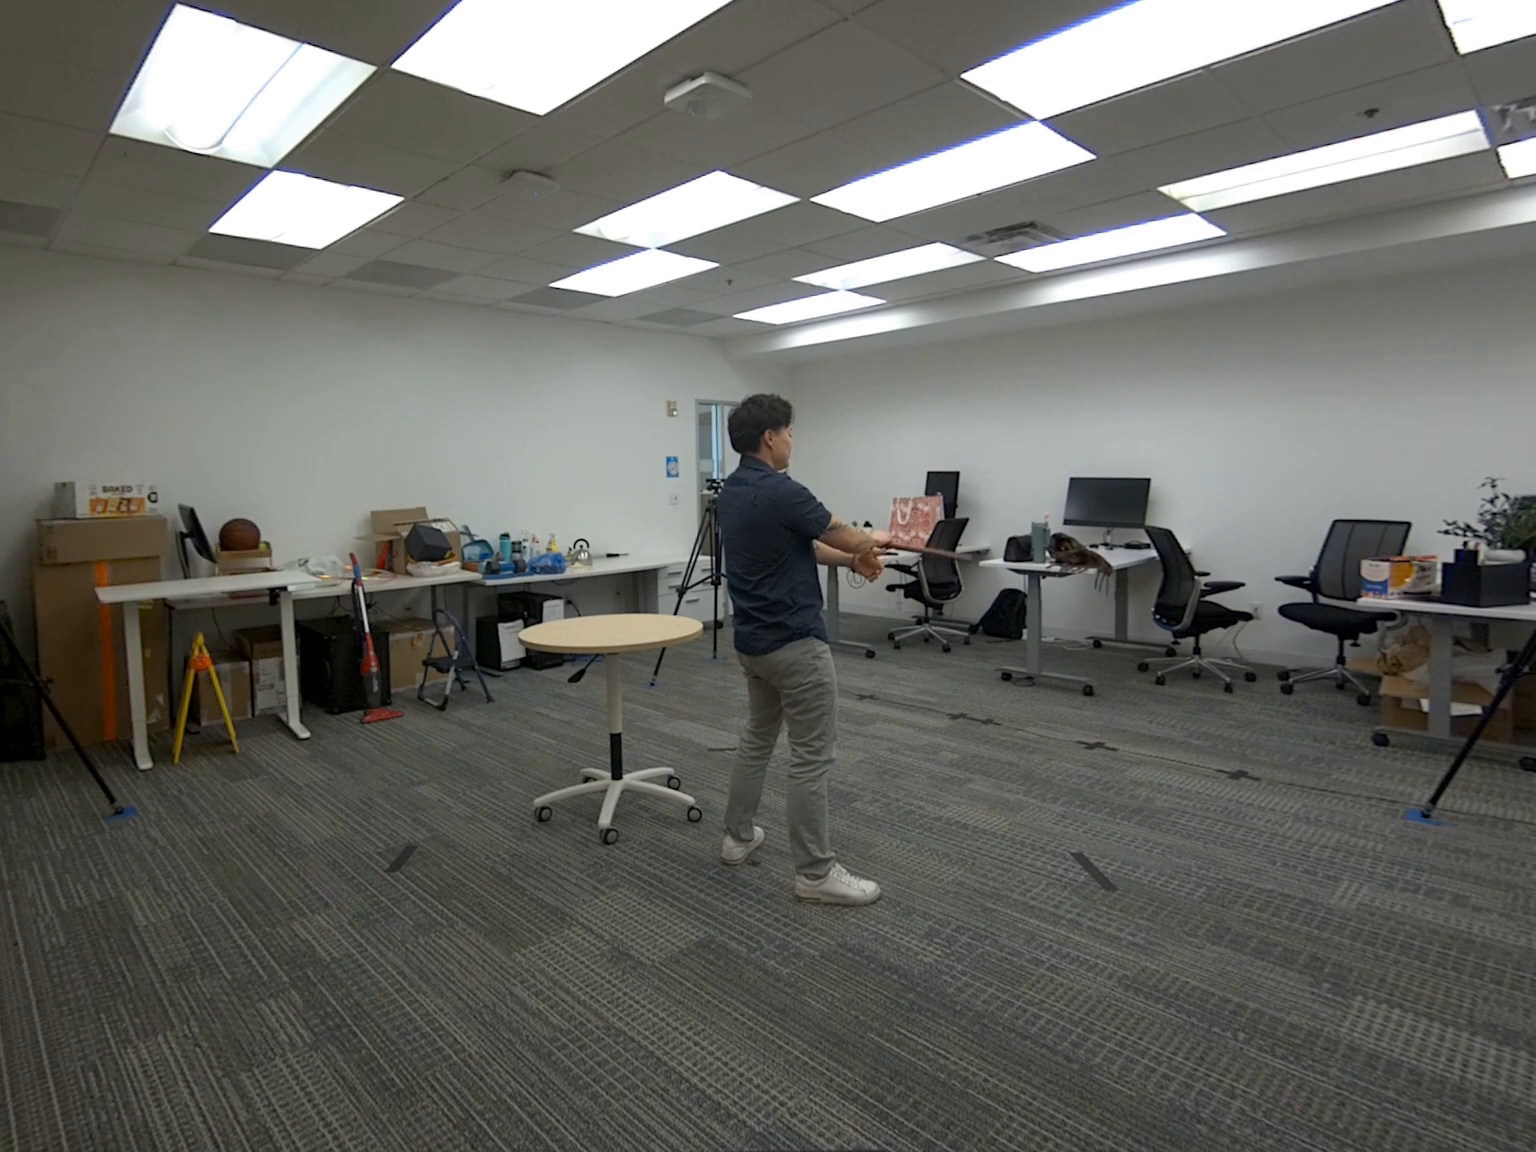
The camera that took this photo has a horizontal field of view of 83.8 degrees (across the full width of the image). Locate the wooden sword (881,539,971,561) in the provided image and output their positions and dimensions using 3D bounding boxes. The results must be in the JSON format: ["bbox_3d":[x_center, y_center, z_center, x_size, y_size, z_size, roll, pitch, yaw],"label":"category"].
[{"bbox_3d":[0.374,-0.129,3.203,0.050,0.024,1.056,-6,12,-28],"label":"wooden sword"}]
